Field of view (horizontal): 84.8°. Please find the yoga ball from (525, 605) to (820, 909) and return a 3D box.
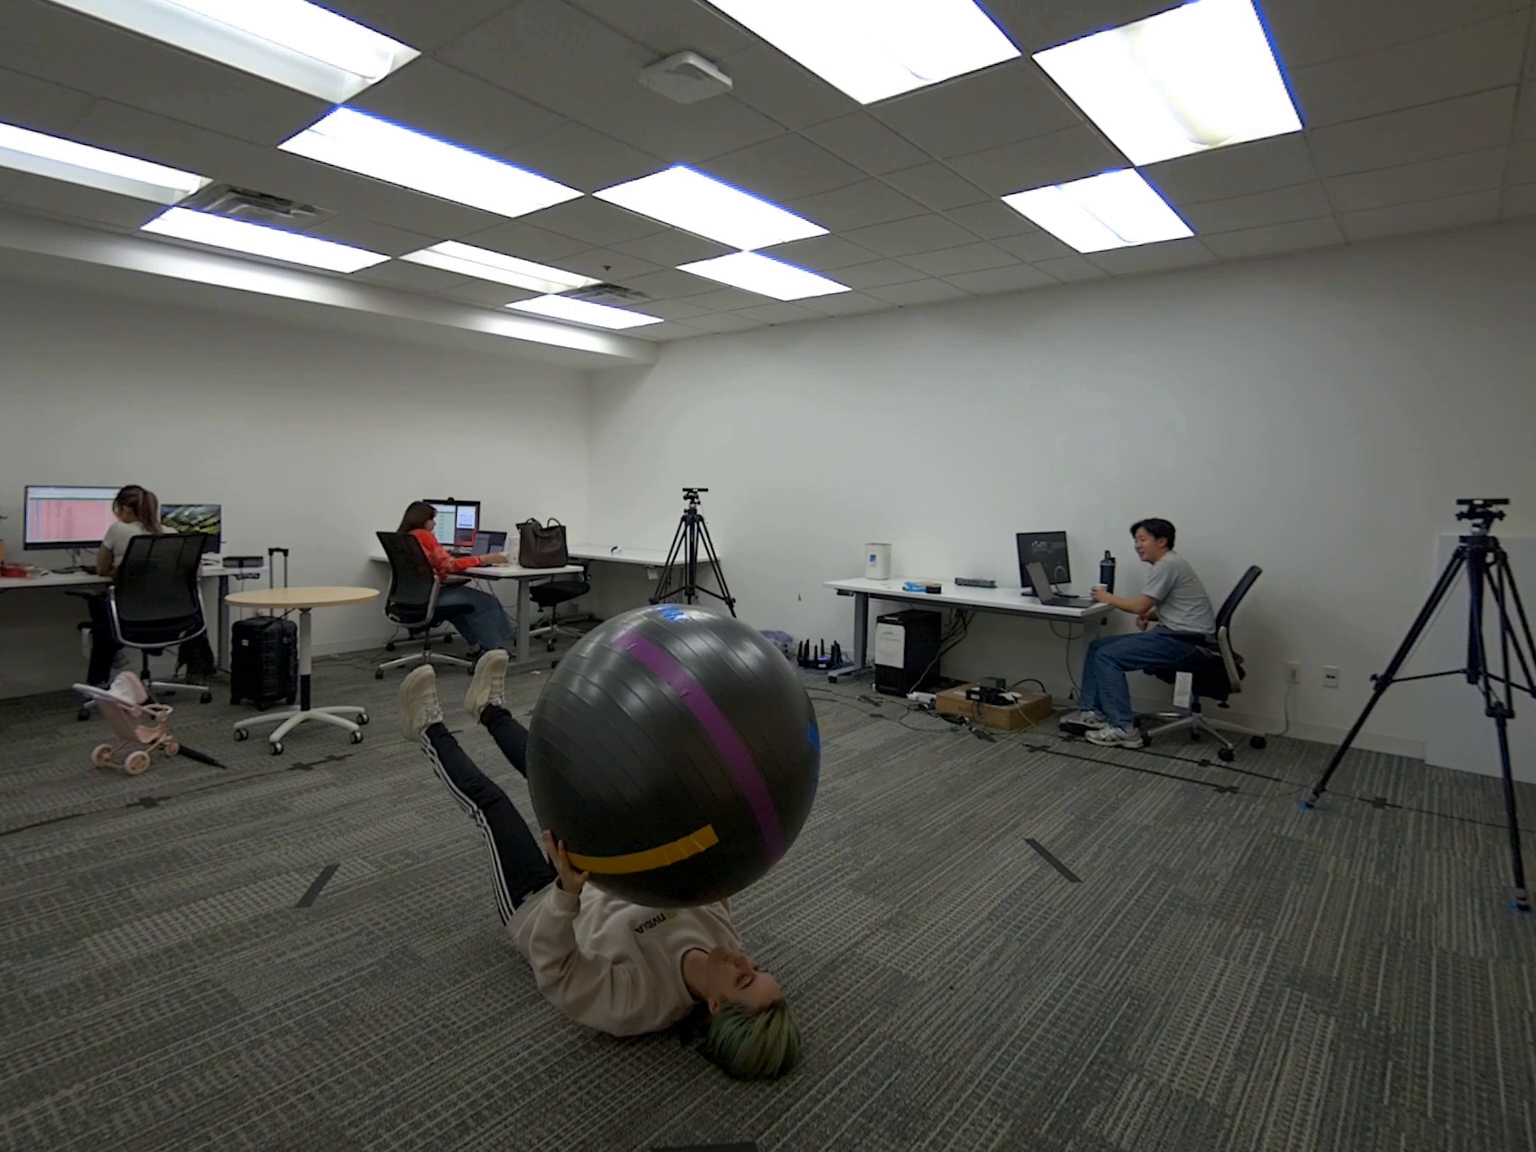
[{"bbox_3d":[-0.253,0.454,2.209,0.757,0.755,0.762,1,4,-2],"label":"yoga ball"}]
